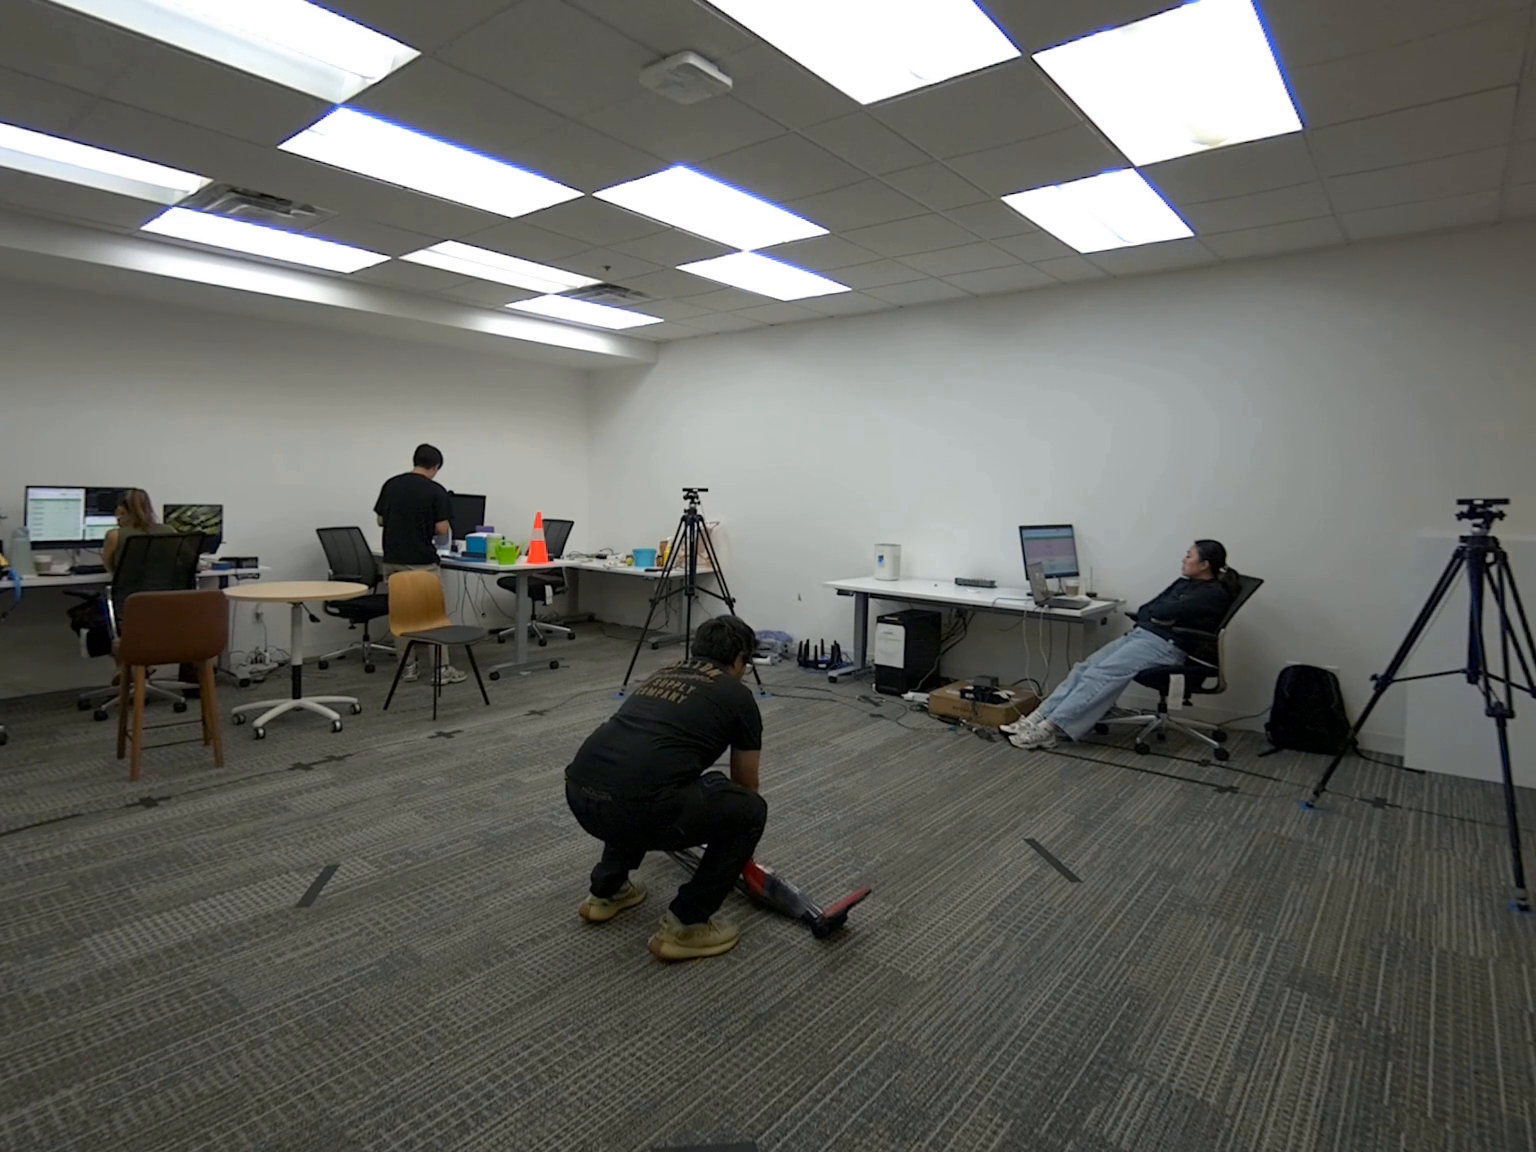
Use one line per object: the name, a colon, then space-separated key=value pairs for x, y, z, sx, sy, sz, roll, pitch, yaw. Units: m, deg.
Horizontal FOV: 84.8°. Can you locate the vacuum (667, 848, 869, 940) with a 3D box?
vacuum: x=-0.184 y=1.012 z=3.008 sx=1.085 sy=0.143 sz=0.246 roll=6 pitch=11 yaw=42
